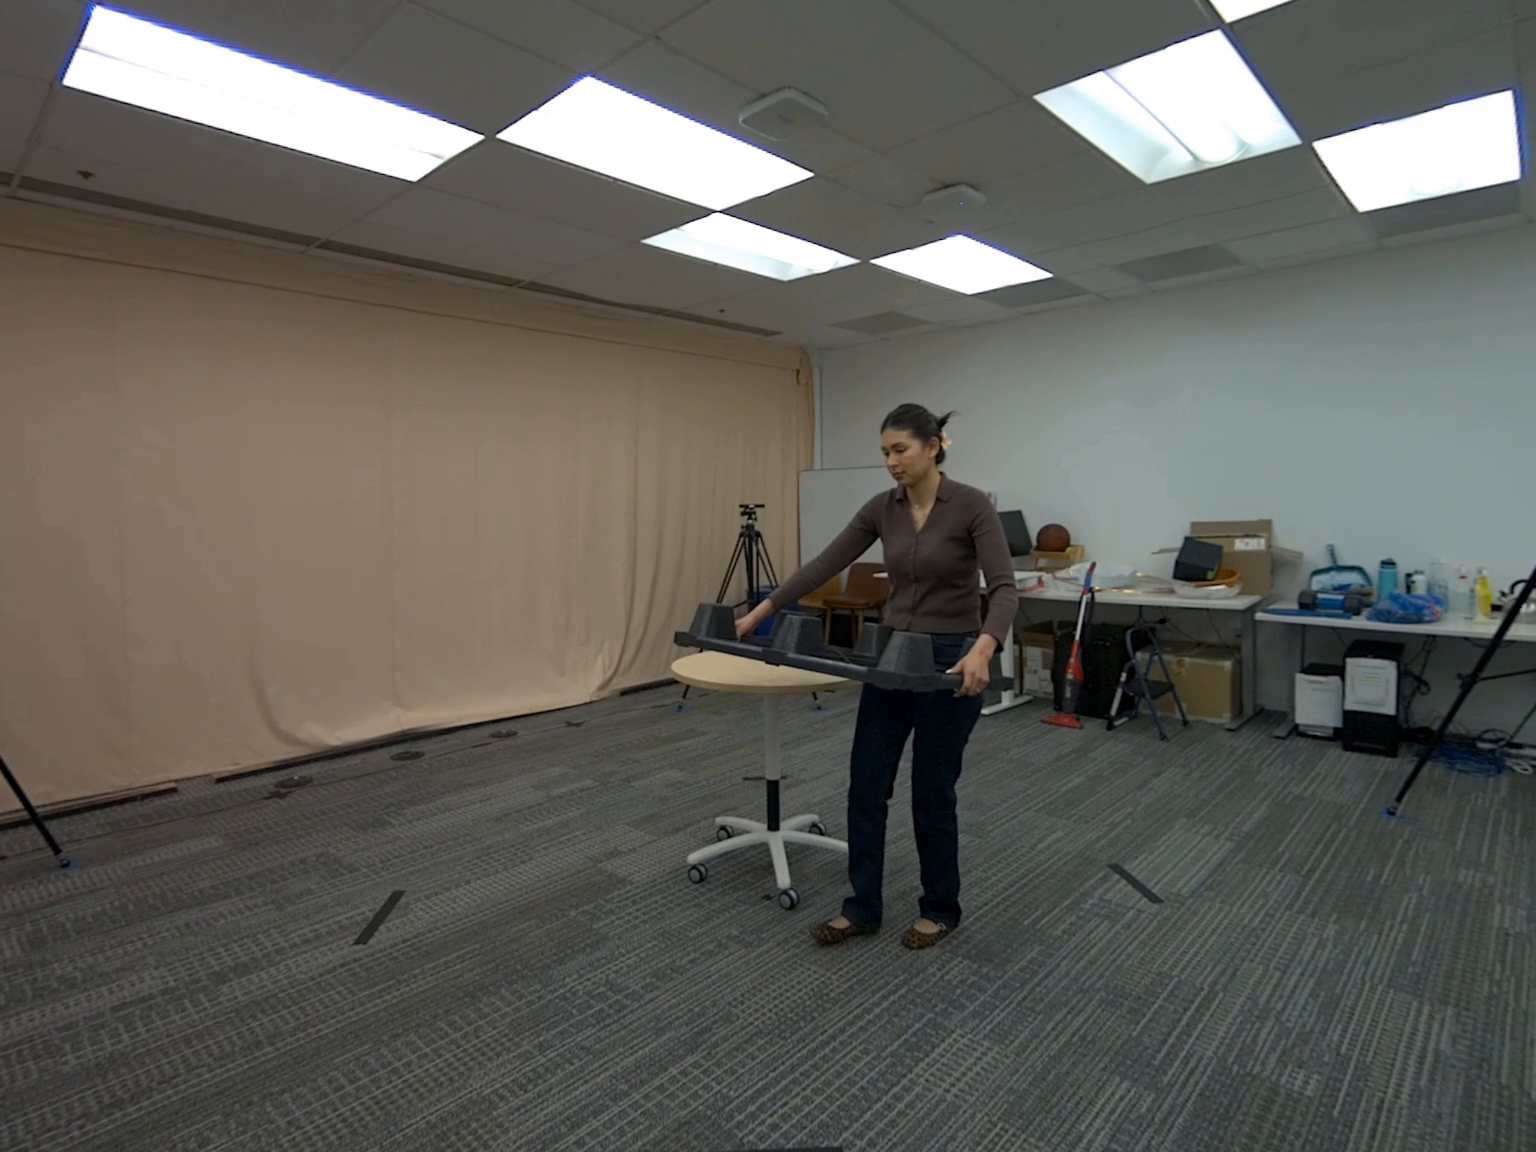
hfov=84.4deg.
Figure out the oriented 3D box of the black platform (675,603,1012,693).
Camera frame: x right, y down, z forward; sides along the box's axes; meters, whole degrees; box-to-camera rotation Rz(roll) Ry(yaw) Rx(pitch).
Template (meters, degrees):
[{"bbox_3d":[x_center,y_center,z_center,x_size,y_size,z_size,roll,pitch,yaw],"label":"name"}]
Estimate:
[{"bbox_3d":[0.221,0.202,2.435,0.833,0.143,0.584,6,-1,43],"label":"black platform"}]
